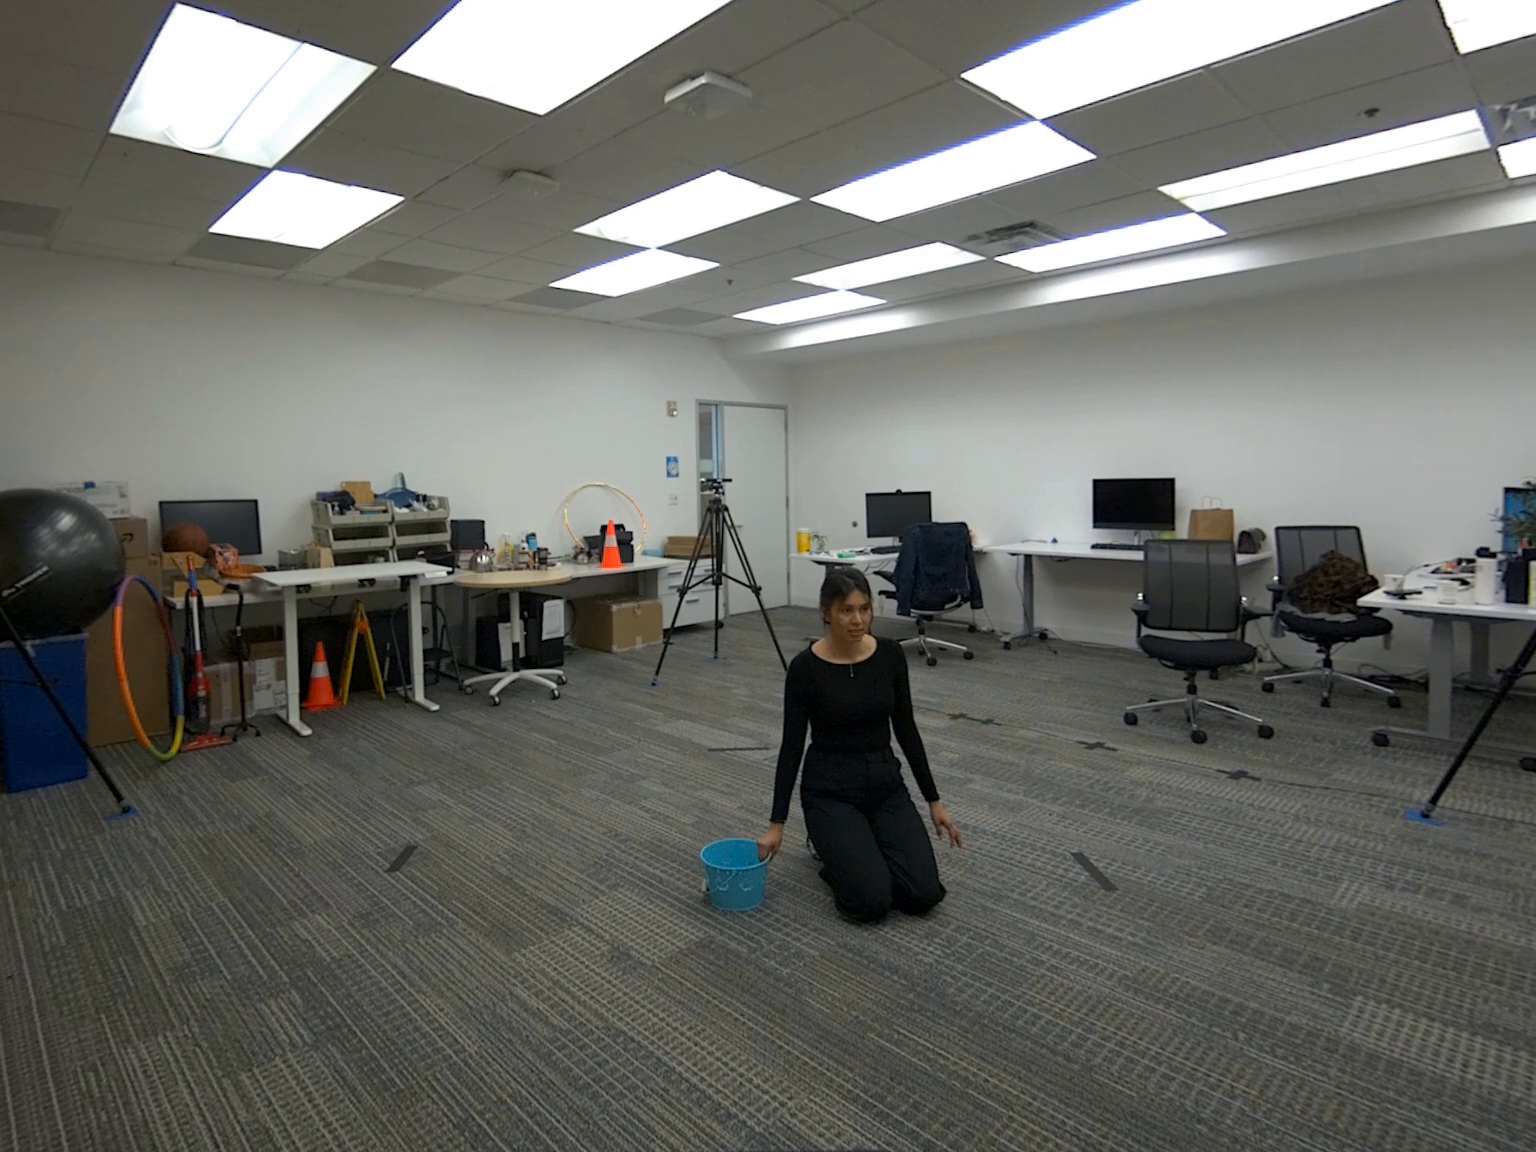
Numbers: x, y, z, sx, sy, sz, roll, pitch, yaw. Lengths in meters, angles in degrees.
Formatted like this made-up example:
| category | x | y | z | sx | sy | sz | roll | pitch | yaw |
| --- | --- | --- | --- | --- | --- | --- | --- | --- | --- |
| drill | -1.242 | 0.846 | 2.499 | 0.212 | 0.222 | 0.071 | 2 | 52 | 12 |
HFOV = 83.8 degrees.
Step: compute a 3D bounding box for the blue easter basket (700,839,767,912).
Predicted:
| category | x | y | z | sx | sy | sz | roll | pitch | yaw |
| --- | --- | --- | --- | --- | --- | --- | --- | --- | --- |
| blue easter basket | -0.102 | 0.997 | 2.854 | 0.243 | 0.155 | 0.245 | -2 | 7 | -1 |
